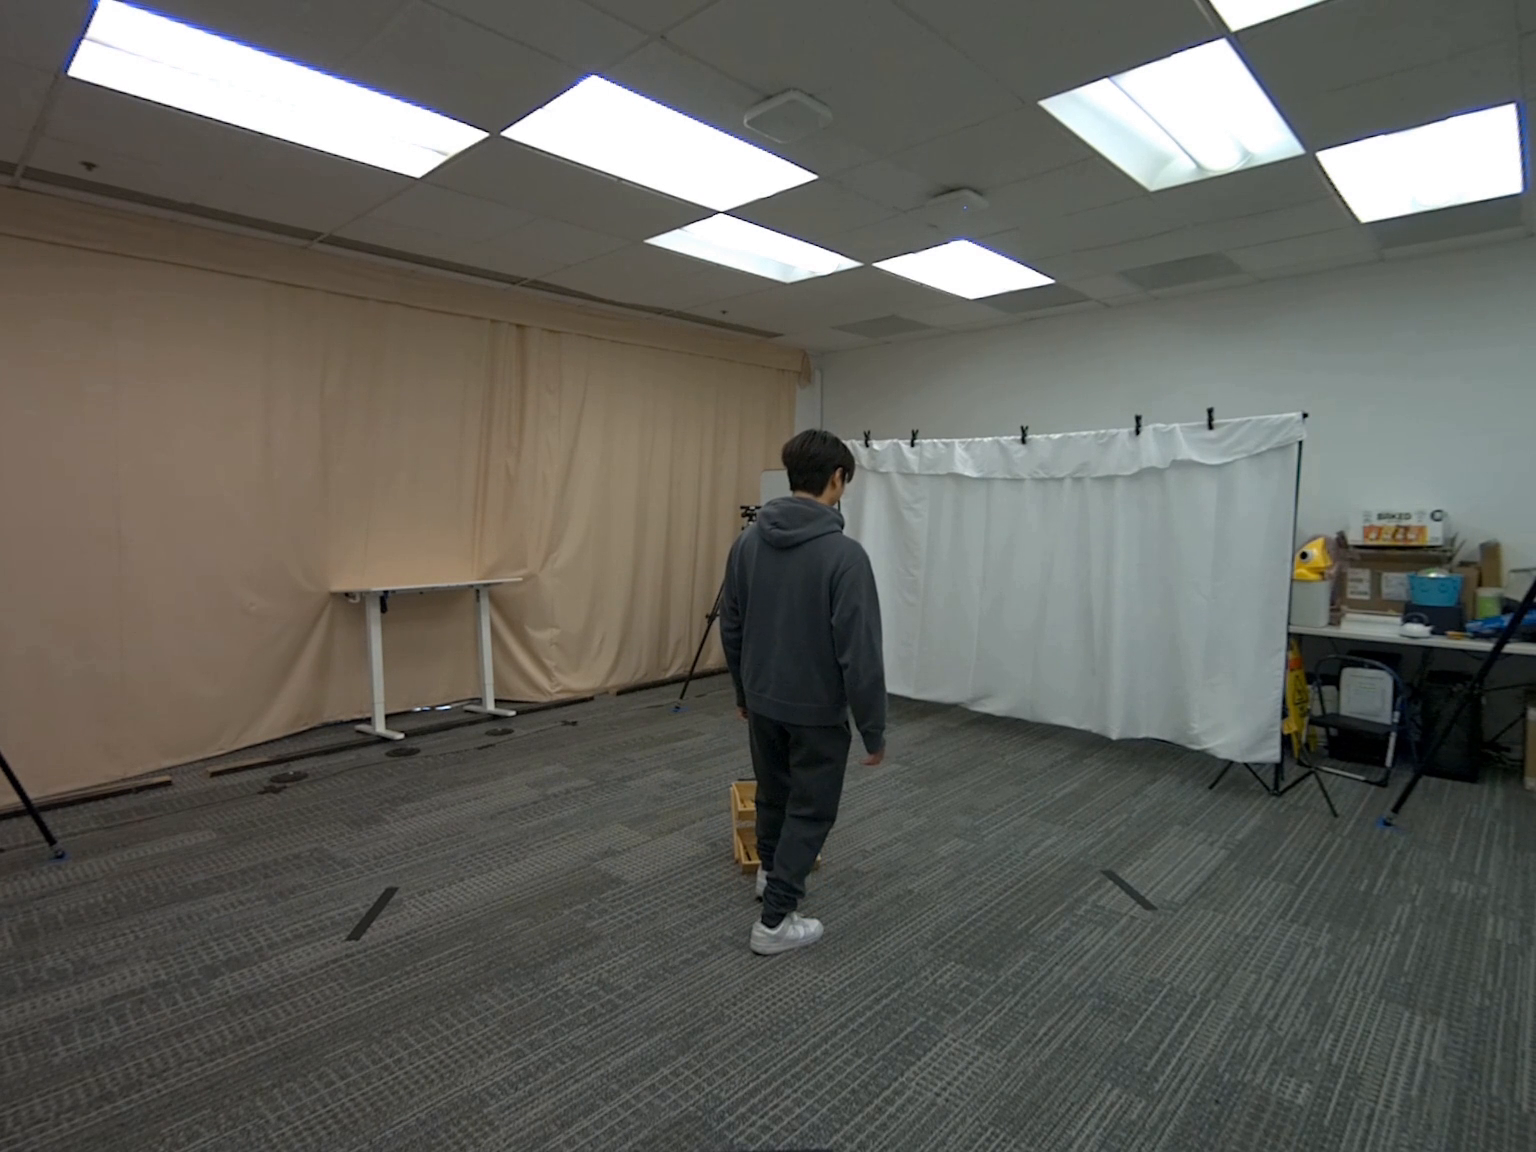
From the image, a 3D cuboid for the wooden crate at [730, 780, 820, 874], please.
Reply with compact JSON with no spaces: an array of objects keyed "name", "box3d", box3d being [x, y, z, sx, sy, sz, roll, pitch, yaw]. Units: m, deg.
[{"name":"wooden crate","box3d":[0.030,0.980,3.319,0.322,0.273,0.305,-1,3,-9]}]
